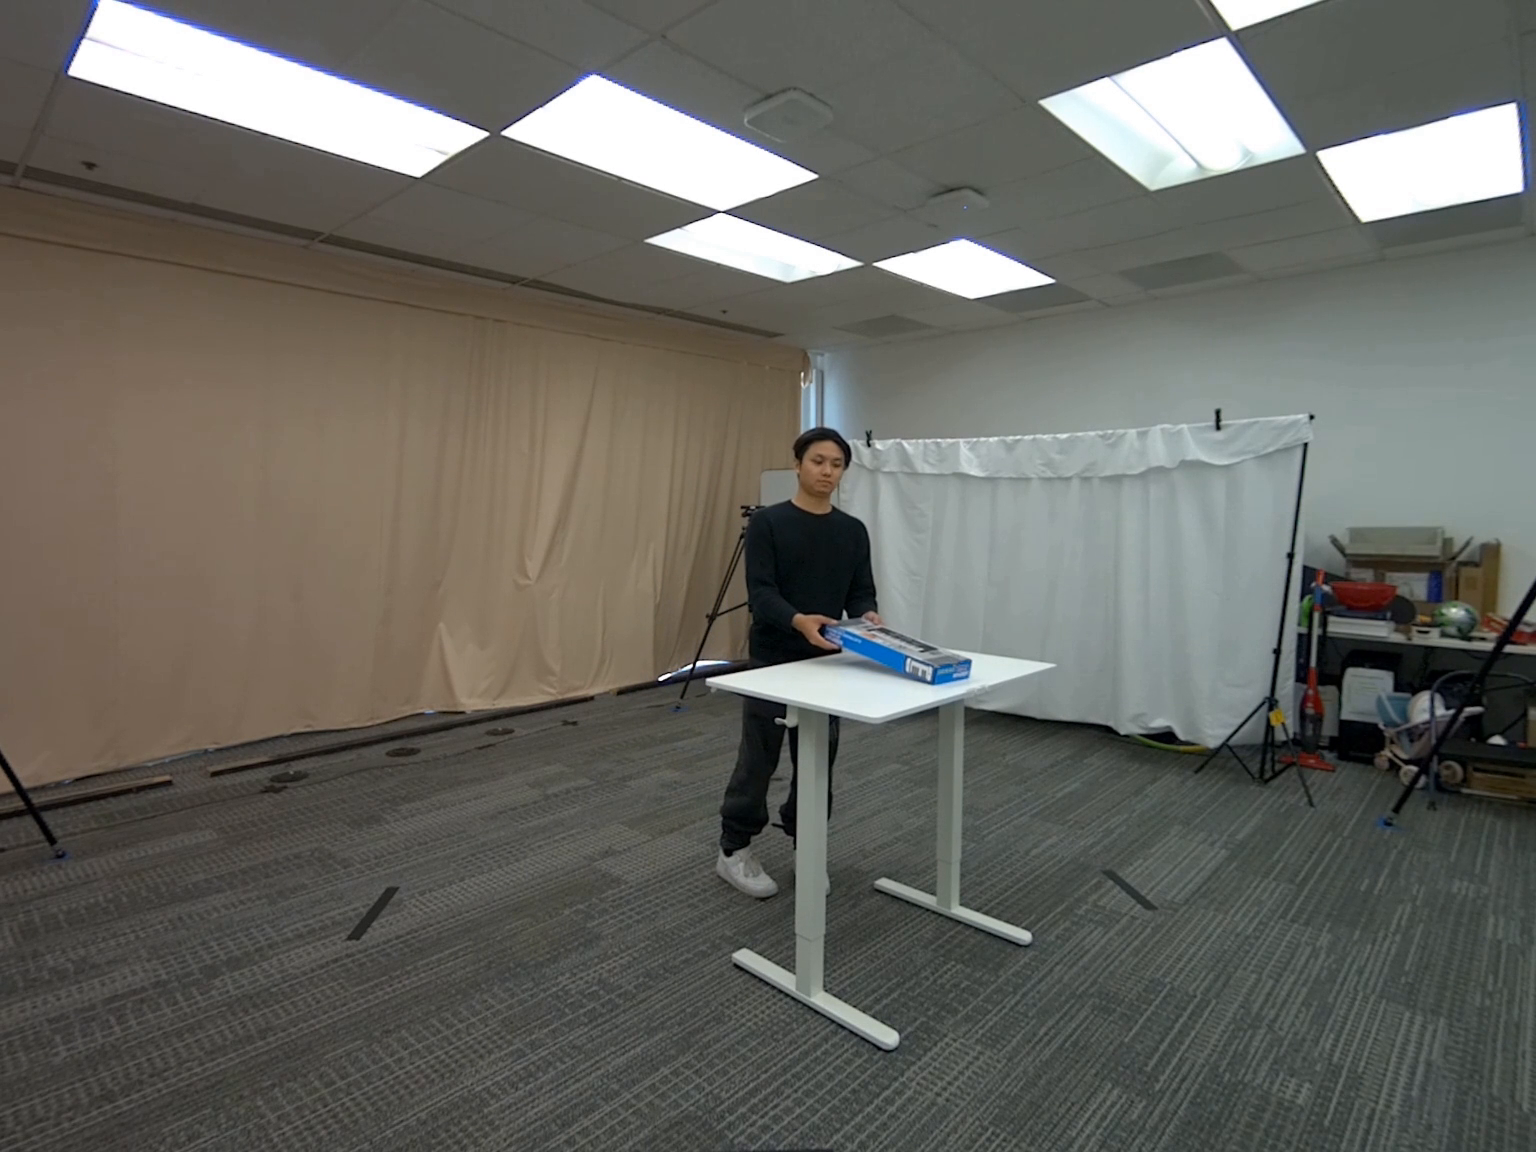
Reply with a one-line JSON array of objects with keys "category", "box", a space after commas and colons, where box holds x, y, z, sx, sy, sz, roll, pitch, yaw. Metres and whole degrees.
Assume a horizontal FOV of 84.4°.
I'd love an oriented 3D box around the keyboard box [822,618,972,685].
[{"category": "keyboard box", "box": [0.399, 0.226, 2.588, 0.171, 0.059, 0.452, -3, 15, -36]}]
